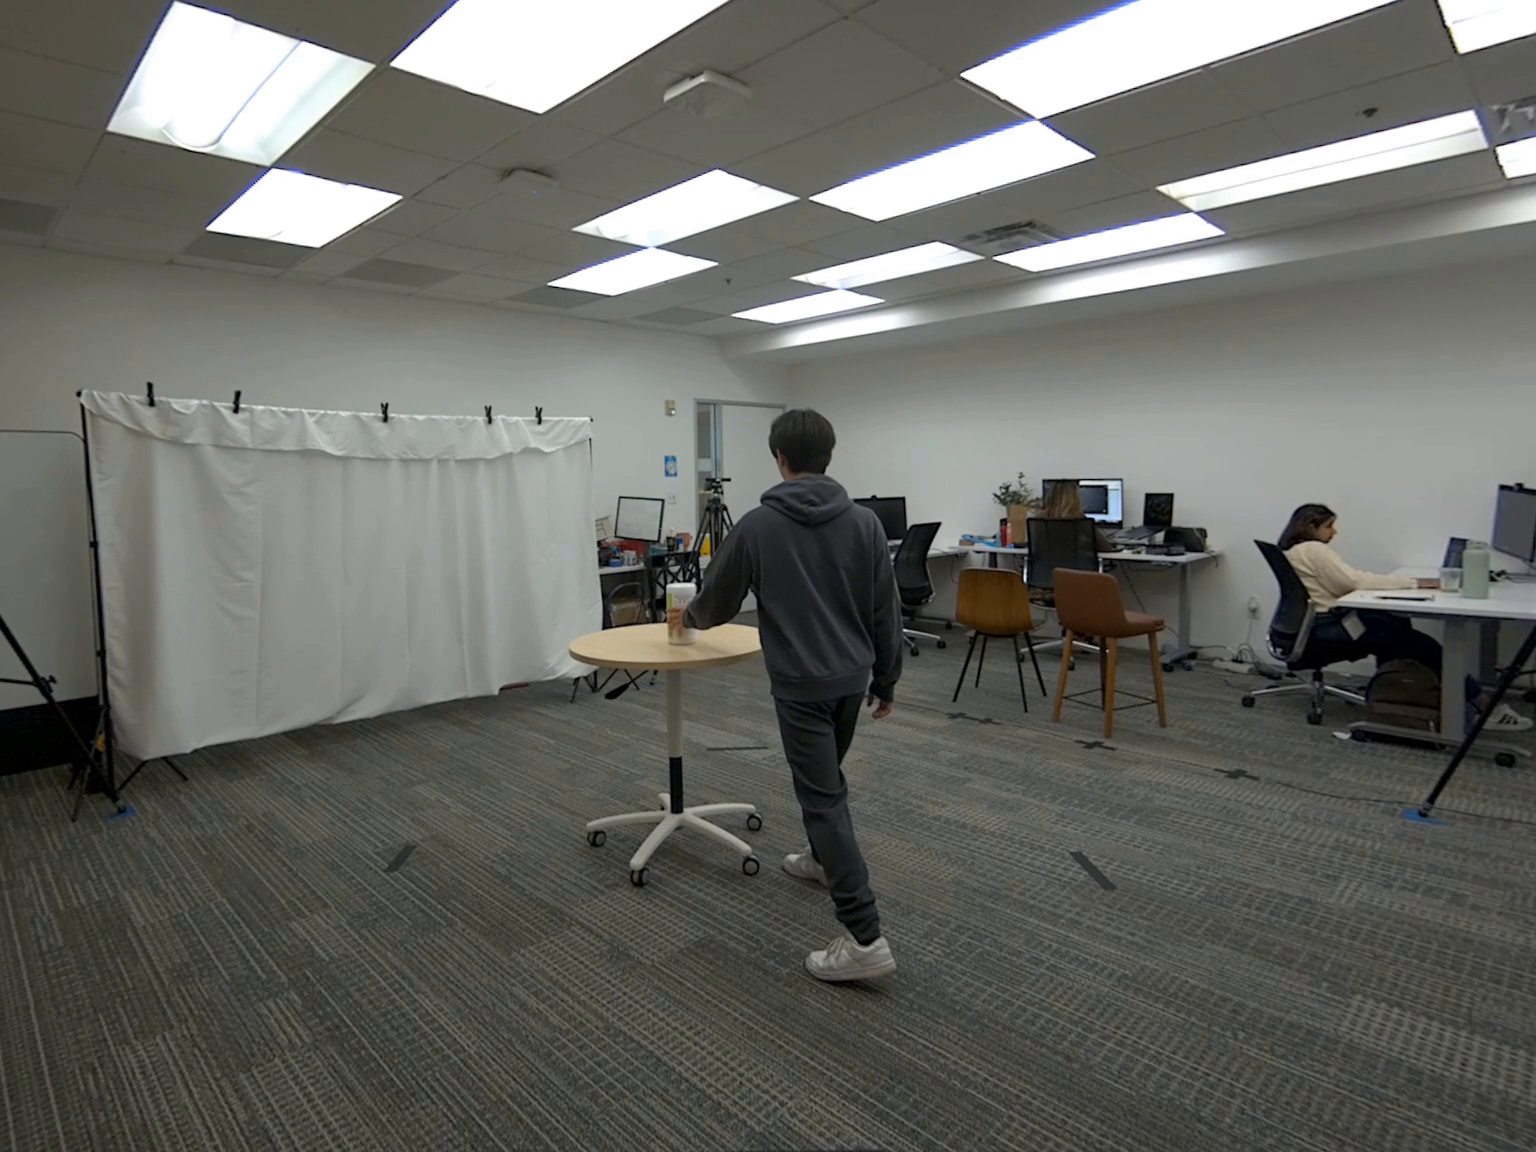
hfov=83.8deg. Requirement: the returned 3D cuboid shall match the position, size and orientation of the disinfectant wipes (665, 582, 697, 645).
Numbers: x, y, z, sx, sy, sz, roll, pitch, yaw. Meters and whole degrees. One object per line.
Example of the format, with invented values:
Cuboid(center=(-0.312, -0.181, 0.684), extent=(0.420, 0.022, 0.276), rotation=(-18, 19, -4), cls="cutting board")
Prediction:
Cuboid(center=(-0.313, 0.138, 3.138), extent=(0.118, 0.217, 0.118), rotation=(-2, 4, -2), cls="disinfectant wipes")
